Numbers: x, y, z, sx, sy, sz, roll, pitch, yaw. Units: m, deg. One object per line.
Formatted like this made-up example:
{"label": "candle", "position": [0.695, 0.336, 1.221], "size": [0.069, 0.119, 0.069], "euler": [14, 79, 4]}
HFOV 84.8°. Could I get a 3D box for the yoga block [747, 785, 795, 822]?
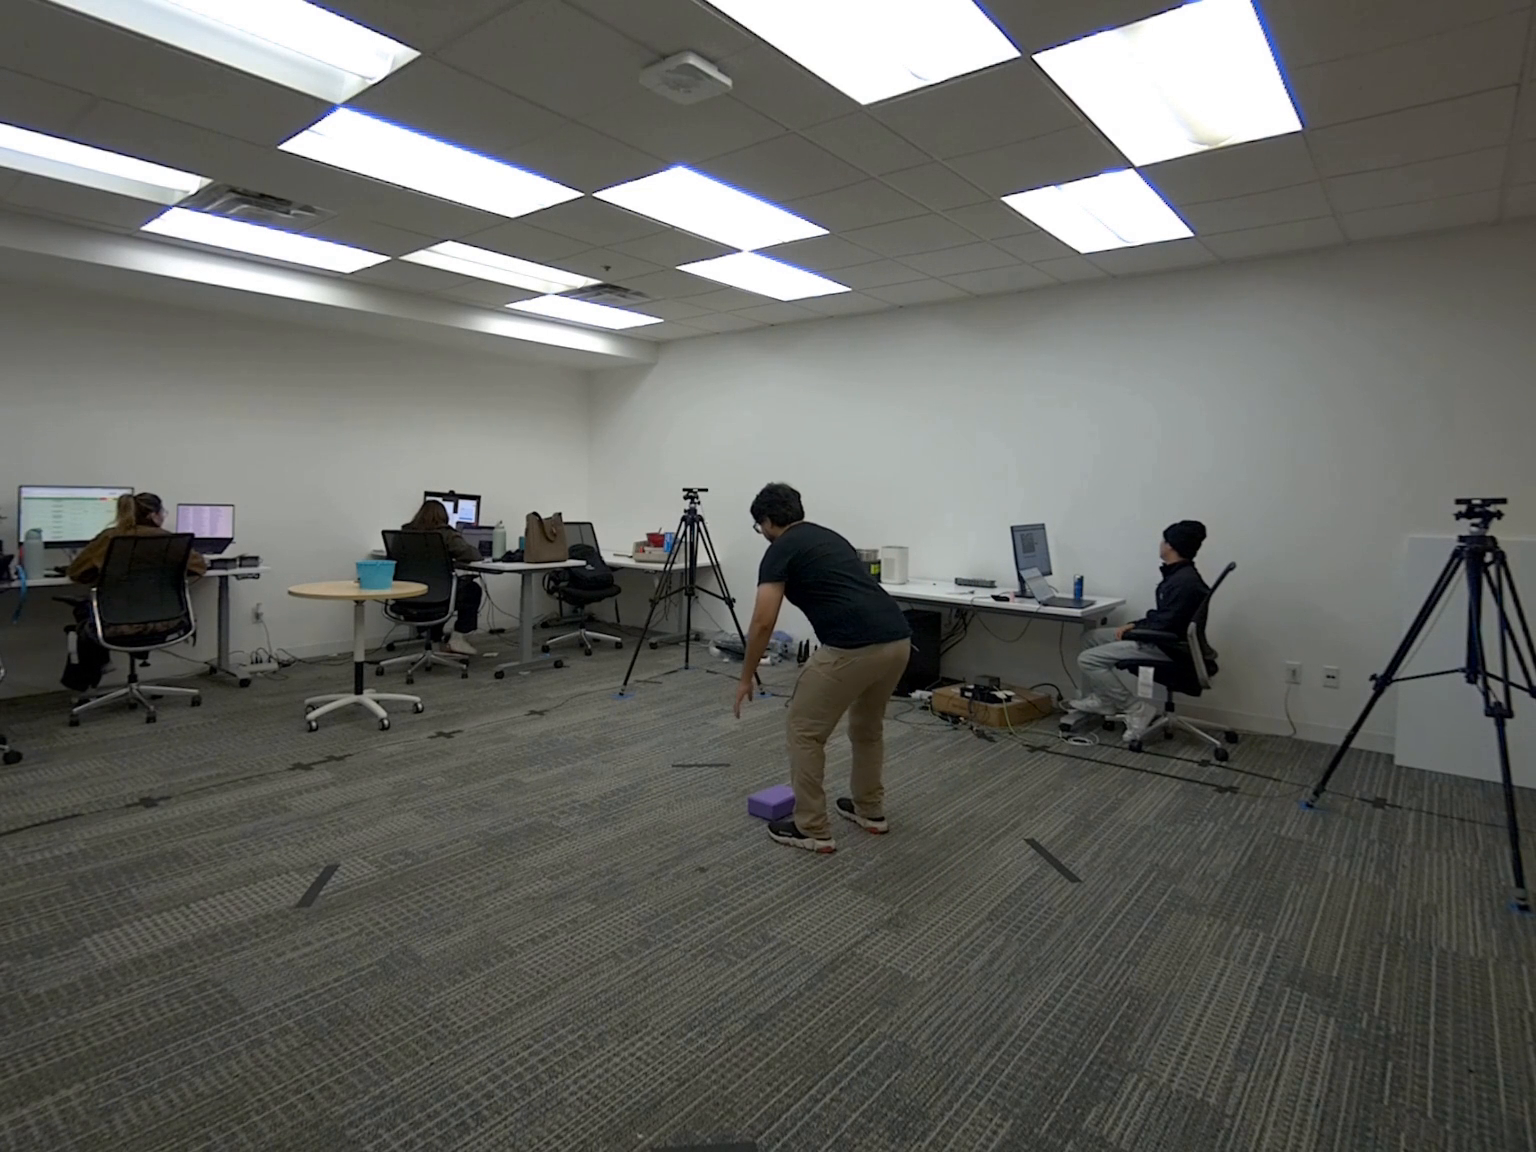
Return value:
{"label": "yoga block", "position": [0.030, 0.976, 3.688], "size": [0.154, 0.076, 0.223], "euler": [4, 6, 39]}
